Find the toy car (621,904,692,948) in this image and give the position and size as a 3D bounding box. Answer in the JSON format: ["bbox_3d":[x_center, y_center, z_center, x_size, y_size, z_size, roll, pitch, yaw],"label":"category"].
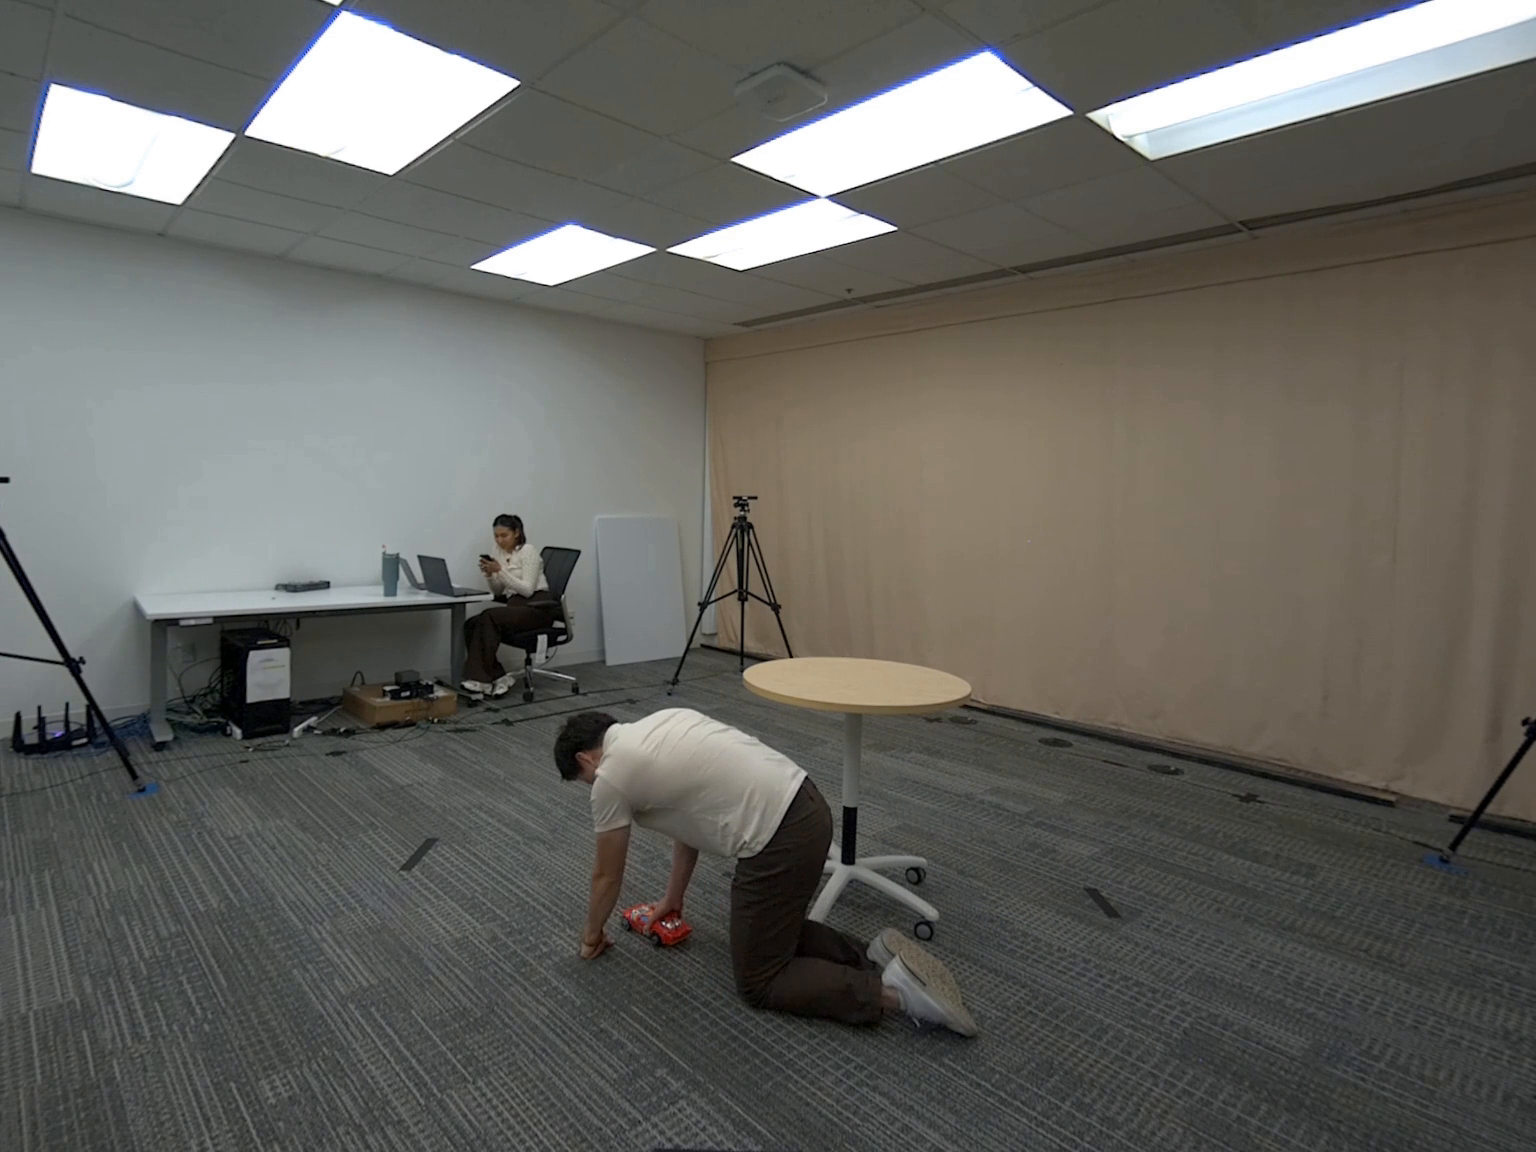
[{"bbox_3d":[-0.355,1.109,2.665,0.260,0.083,0.127,-8,-1,43],"label":"toy car"}]
